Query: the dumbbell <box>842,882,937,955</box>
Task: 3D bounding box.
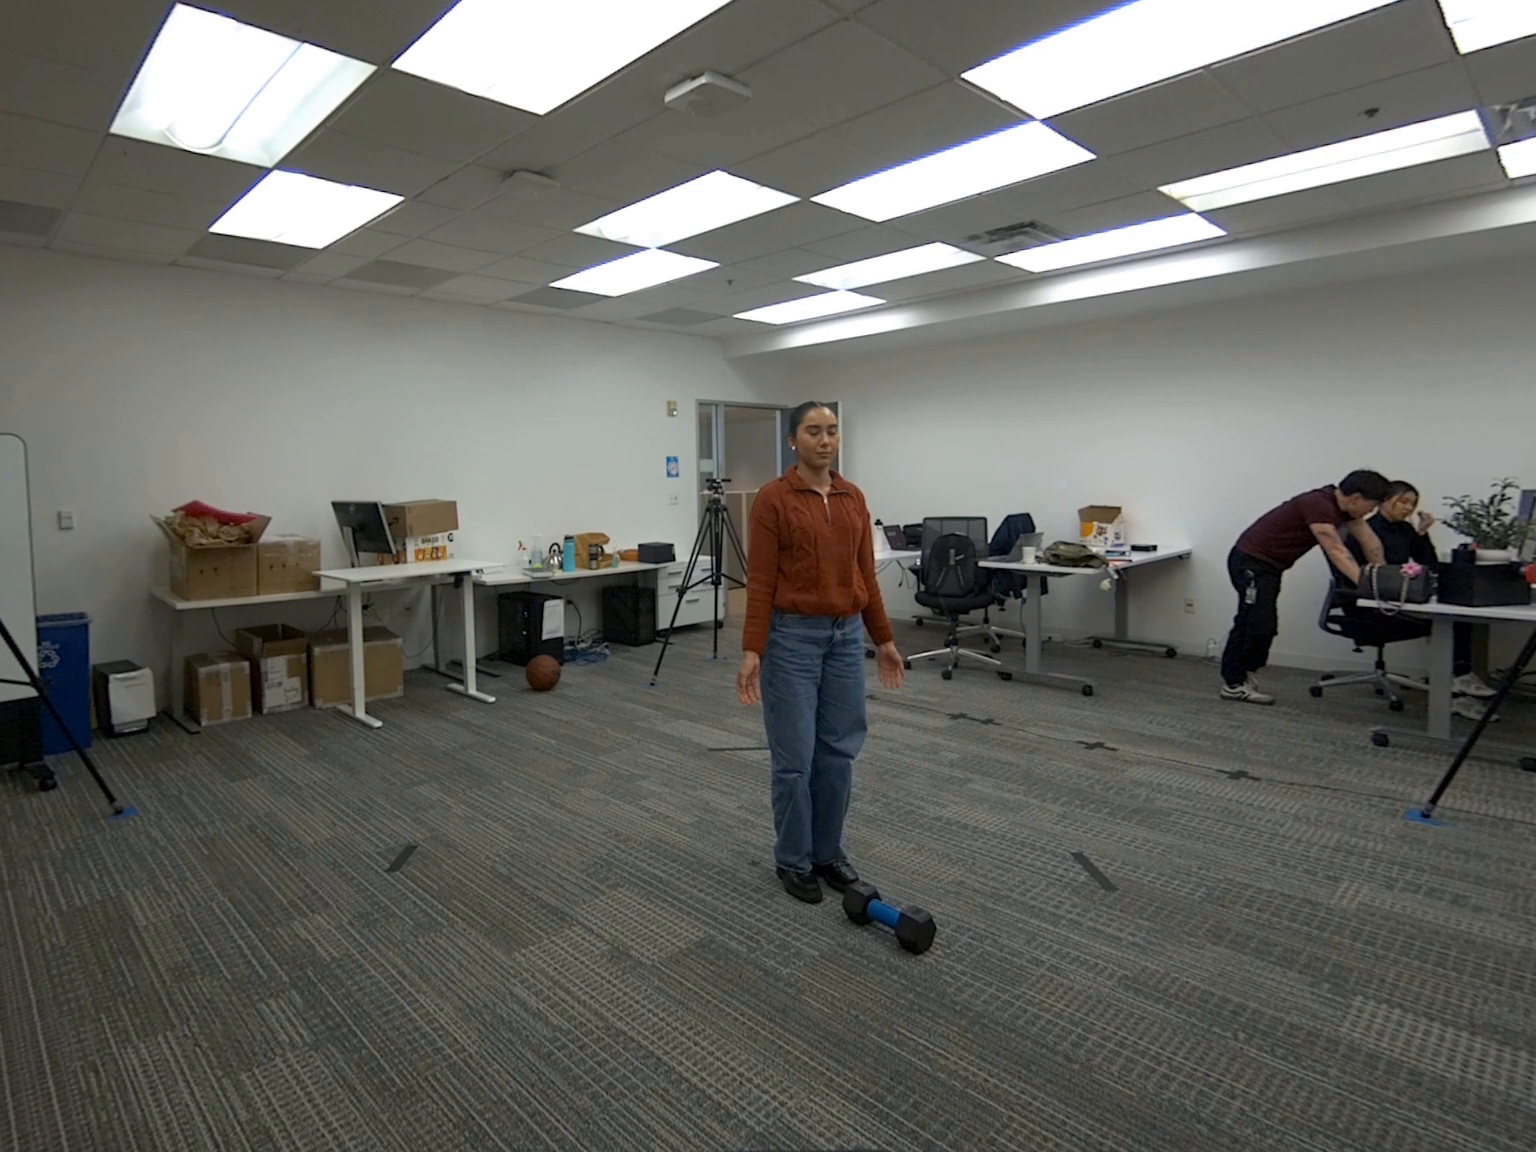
[{"bbox_3d":[0.372,1.041,2.609,0.105,0.124,0.302,34,-18,-37],"label":"dumbbell"}]
